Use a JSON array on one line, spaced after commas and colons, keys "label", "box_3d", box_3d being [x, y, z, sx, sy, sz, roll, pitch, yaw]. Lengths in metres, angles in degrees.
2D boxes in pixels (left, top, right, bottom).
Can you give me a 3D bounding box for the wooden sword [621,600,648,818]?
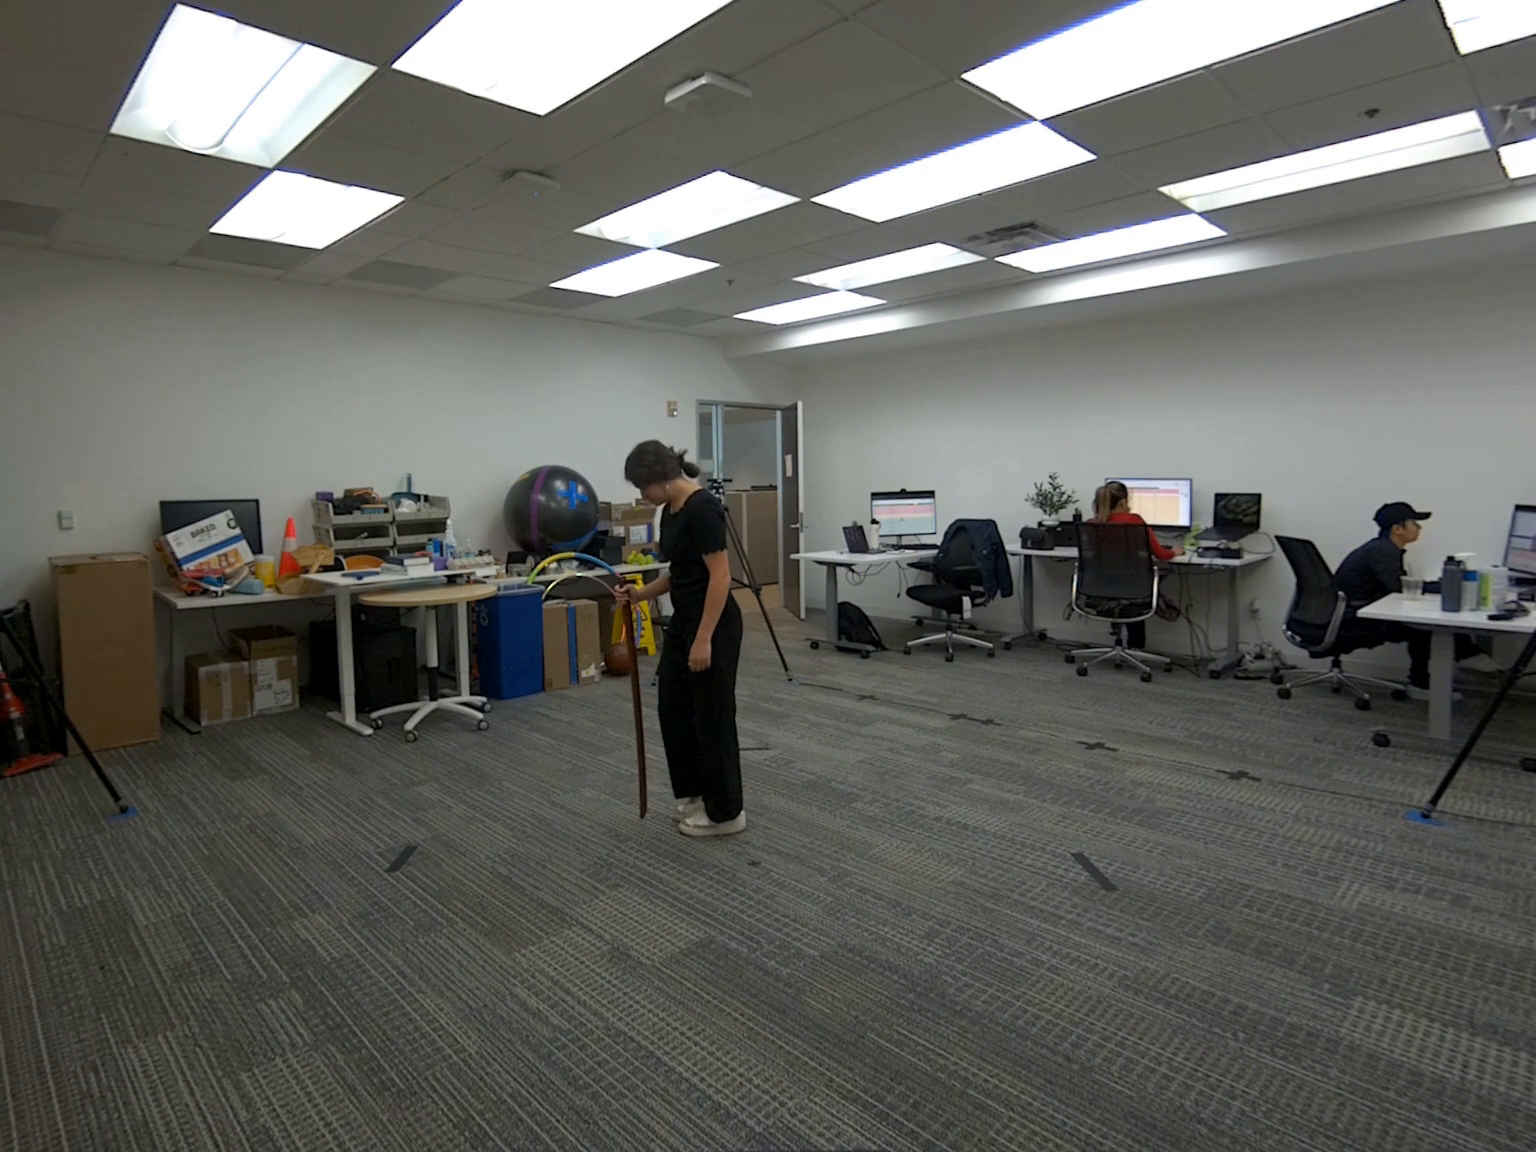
[{"label": "wooden sword", "box_3d": [-0.533, 0.513, 3.460, 0.024, 1.014, 0.051, -2, 11, 4]}]
